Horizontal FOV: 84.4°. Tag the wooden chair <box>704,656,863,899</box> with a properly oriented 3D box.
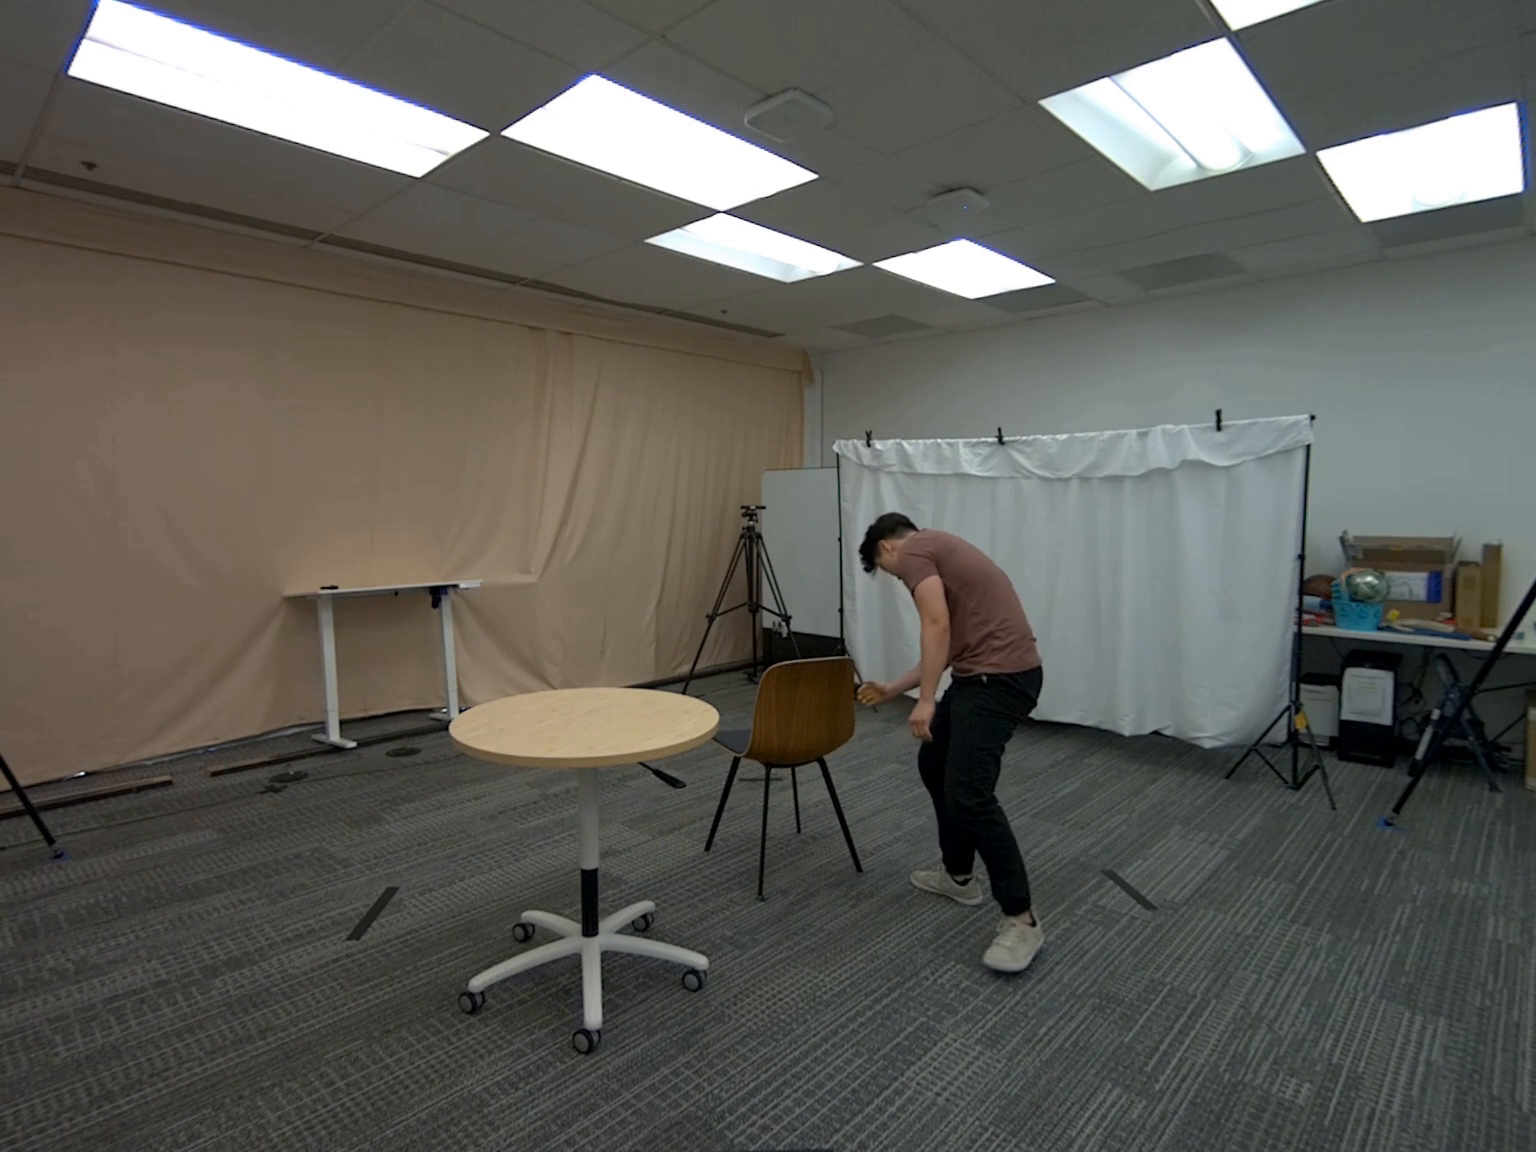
[{"bbox_3d":[0.049,0.692,3.274,0.466,0.873,0.539,-2,8,-28],"label":"wooden chair"}]
